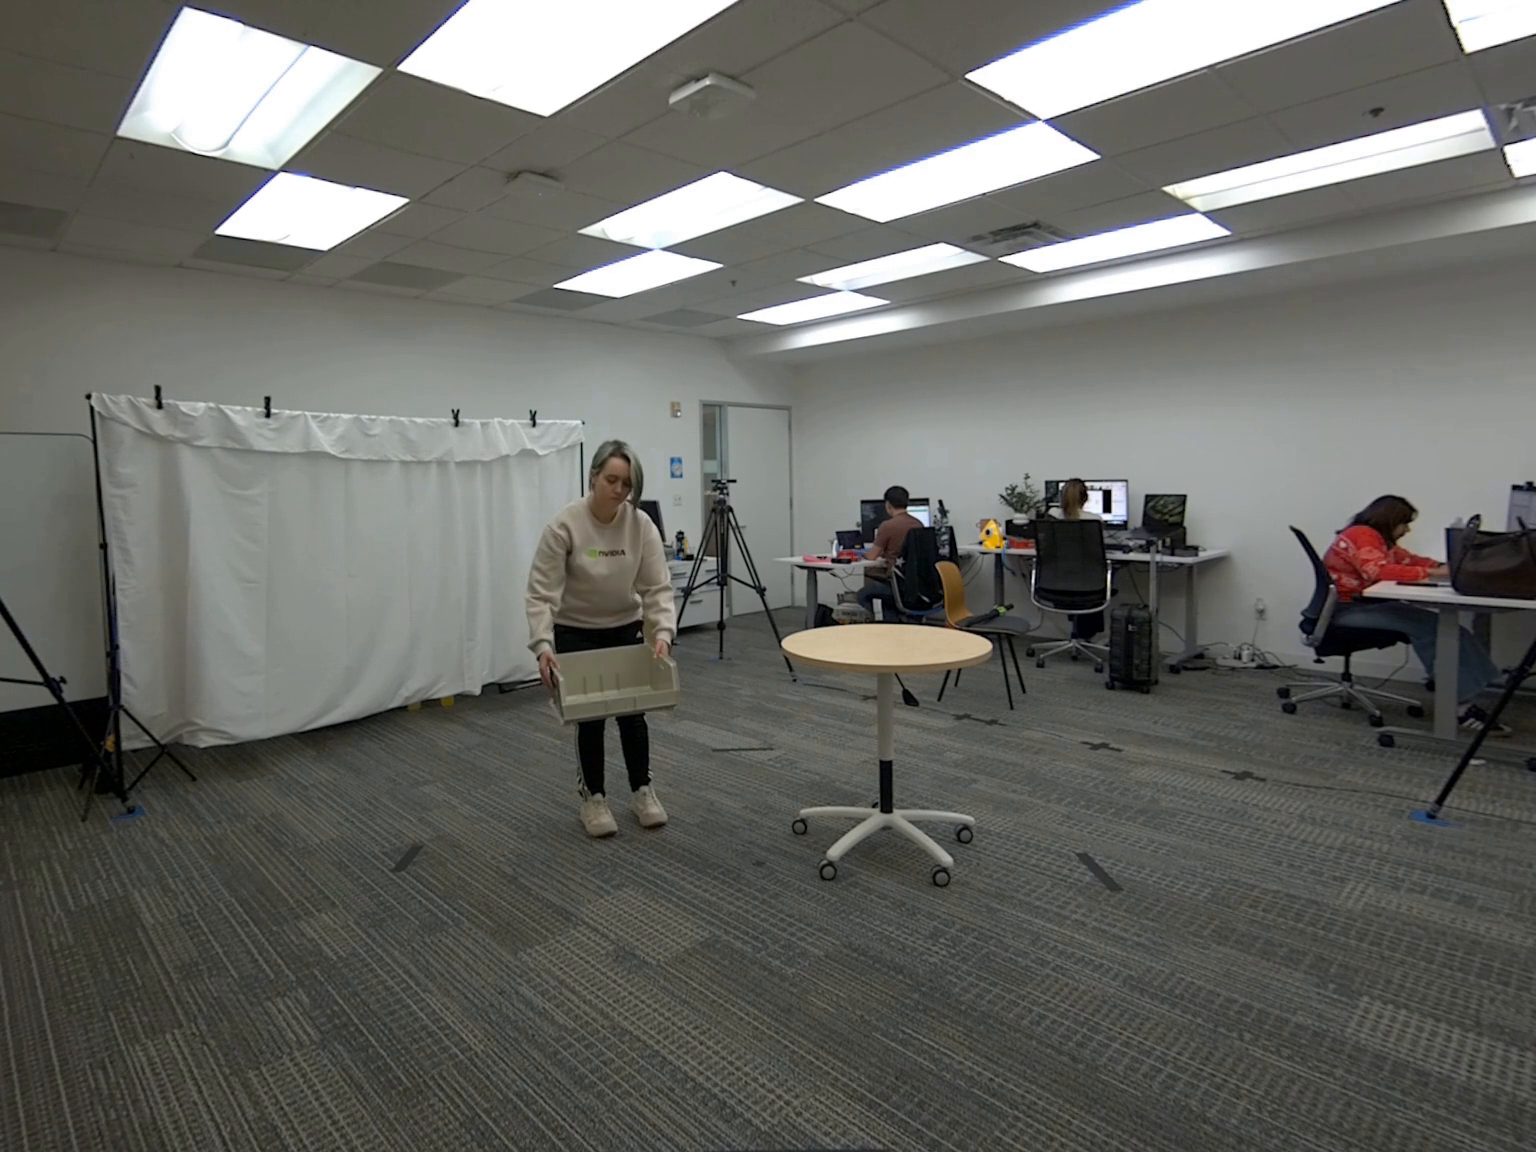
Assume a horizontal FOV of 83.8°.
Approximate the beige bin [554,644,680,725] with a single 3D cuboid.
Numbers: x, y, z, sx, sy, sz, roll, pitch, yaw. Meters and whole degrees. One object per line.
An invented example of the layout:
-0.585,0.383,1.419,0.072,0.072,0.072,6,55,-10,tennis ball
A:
-0.576,0.401,3.138,0.415,0.188,0.386,-5,8,-21,beige bin
